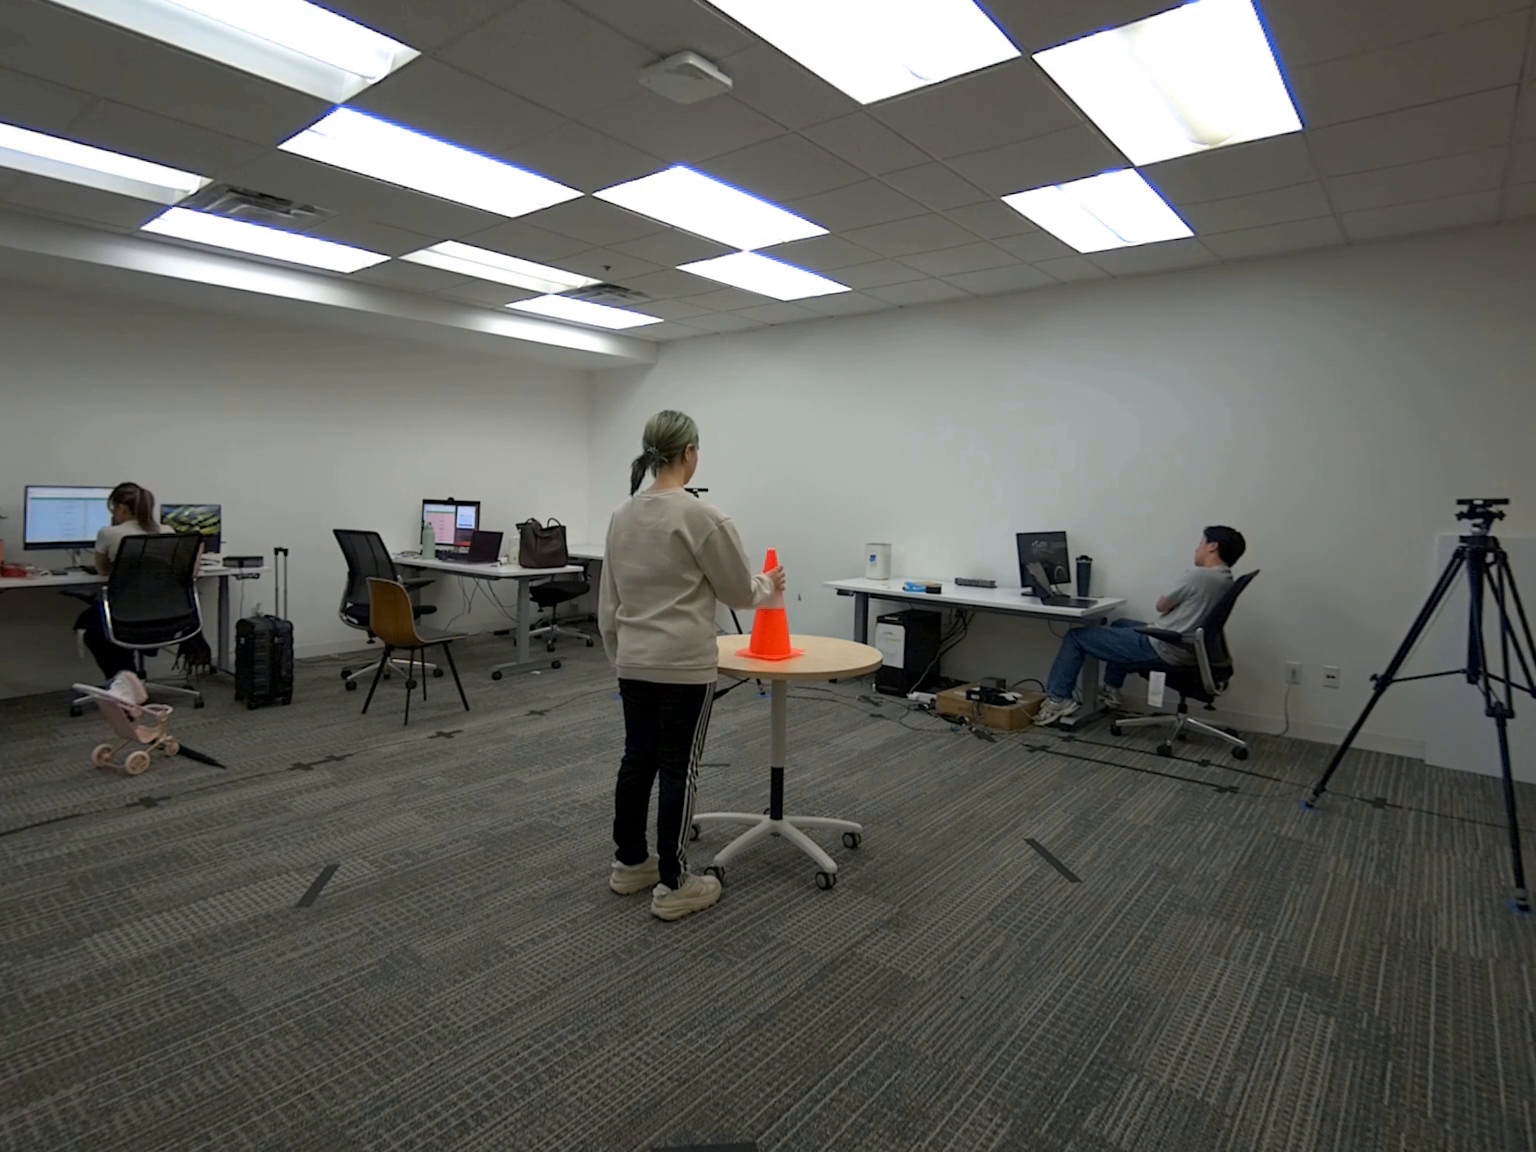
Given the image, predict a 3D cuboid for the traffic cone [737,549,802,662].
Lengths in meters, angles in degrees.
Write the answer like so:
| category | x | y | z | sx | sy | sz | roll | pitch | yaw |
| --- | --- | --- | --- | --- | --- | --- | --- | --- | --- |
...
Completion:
| category | x | y | z | sx | sy | sz | roll | pitch | yaw |
| --- | --- | --- | --- | --- | --- | --- | --- | --- | --- |
| traffic cone | 0.008 | 0.090 | 3.119 | 0.212 | 0.382 | 0.198 | 7 | 6 | 33 |
